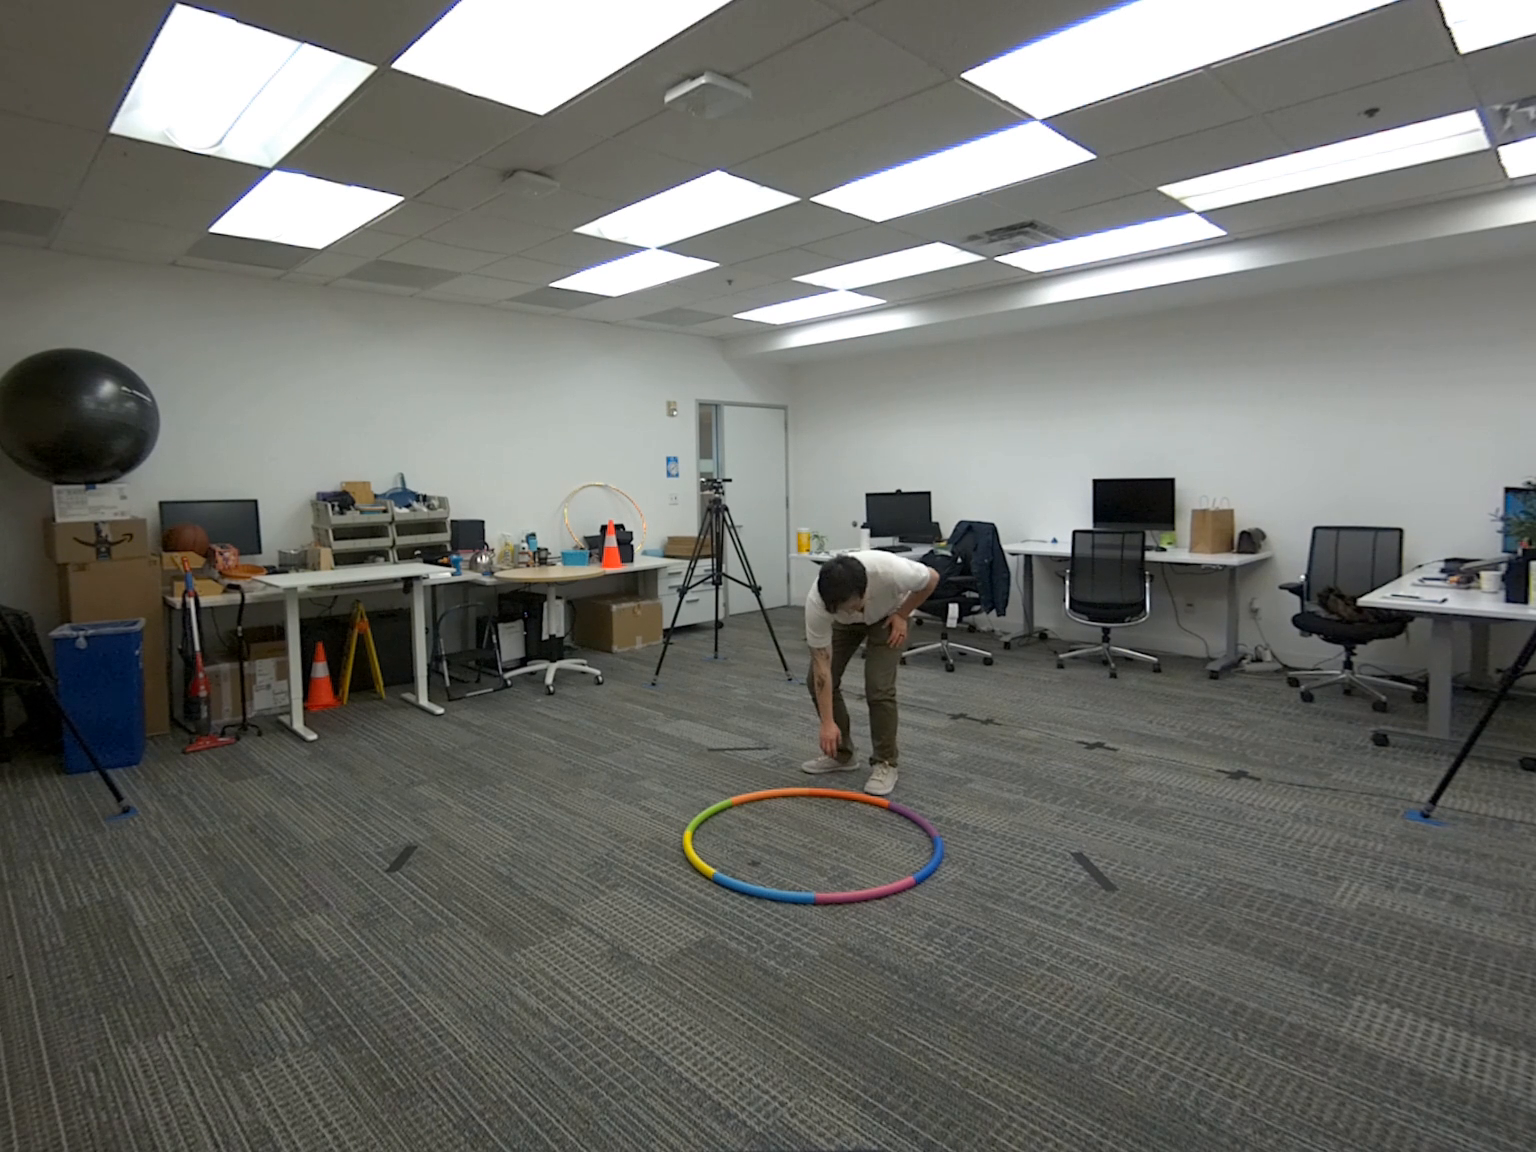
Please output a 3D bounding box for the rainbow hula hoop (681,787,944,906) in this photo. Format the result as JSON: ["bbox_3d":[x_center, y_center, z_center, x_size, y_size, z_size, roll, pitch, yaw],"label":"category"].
[{"bbox_3d":[0.164,0.989,3.279,0.978,0.035,0.985,-1,7,-2],"label":"rainbow hula hoop"}]
